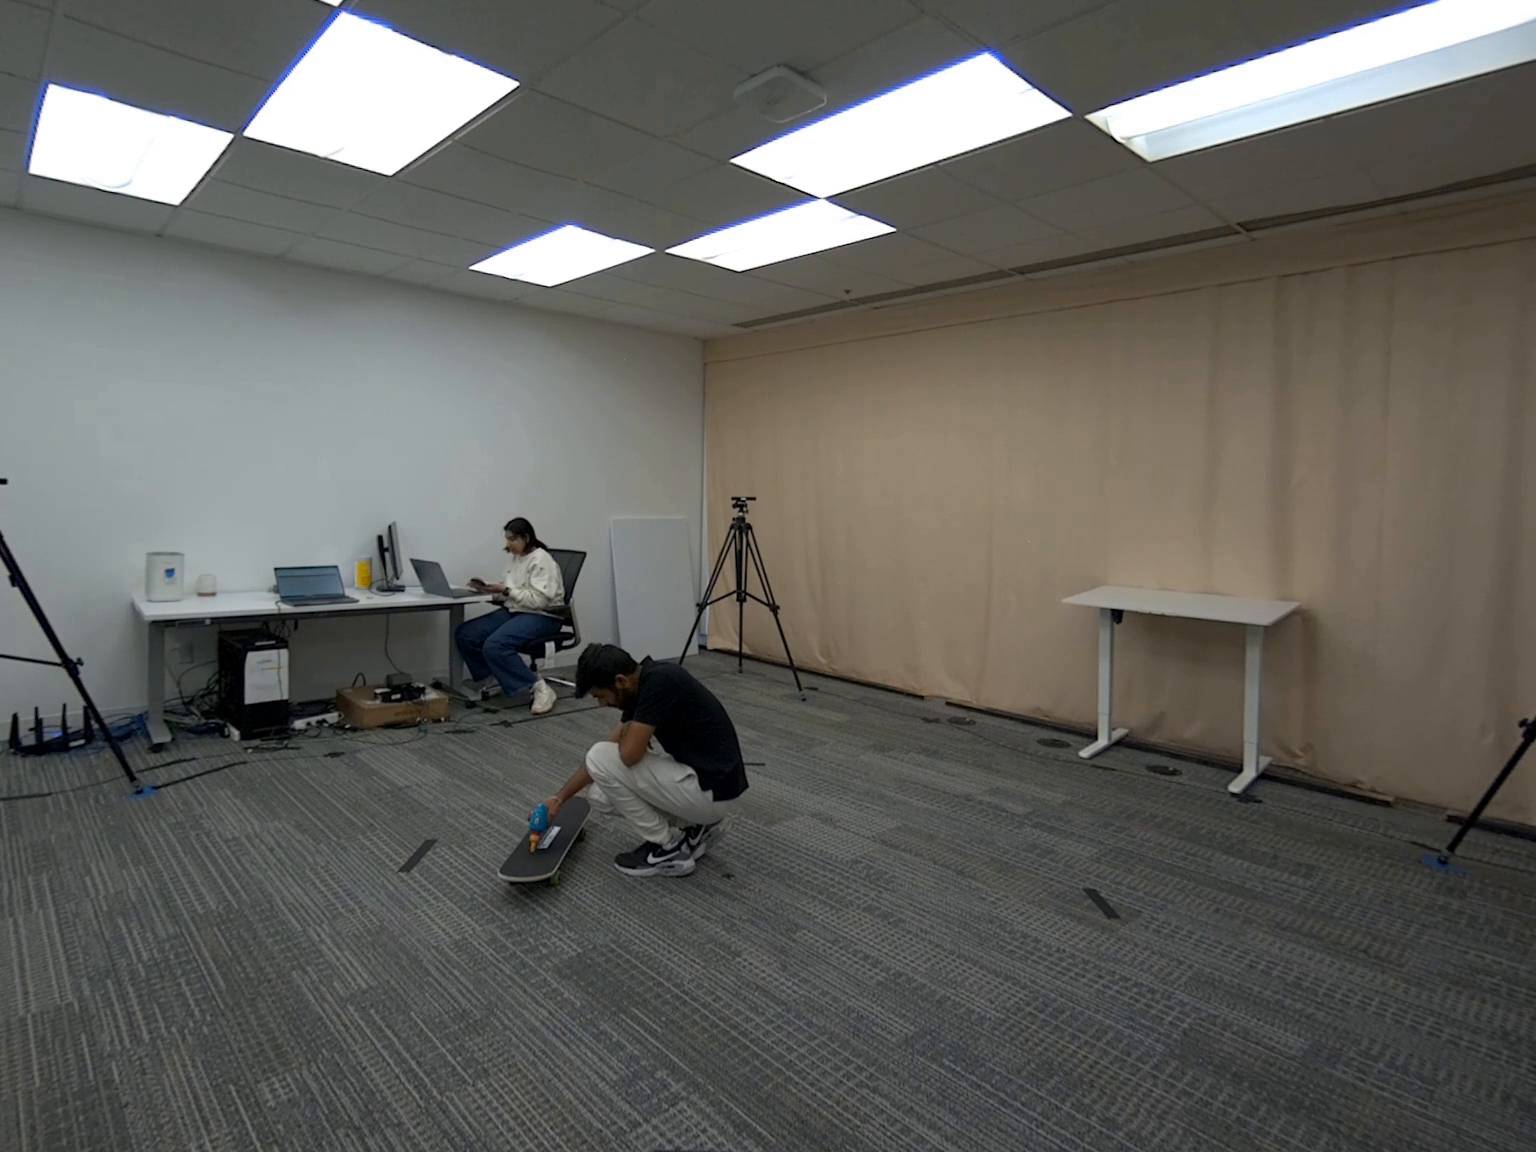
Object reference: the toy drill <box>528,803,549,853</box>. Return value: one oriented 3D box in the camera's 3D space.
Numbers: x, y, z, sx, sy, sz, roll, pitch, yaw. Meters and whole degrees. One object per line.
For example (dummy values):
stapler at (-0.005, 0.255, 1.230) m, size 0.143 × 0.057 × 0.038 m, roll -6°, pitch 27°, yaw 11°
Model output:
toy drill at (-0.855, 0.917, 3.118) m, size 0.061 × 0.172 × 0.144 m, roll 8°, pitch -24°, yaw 0°
